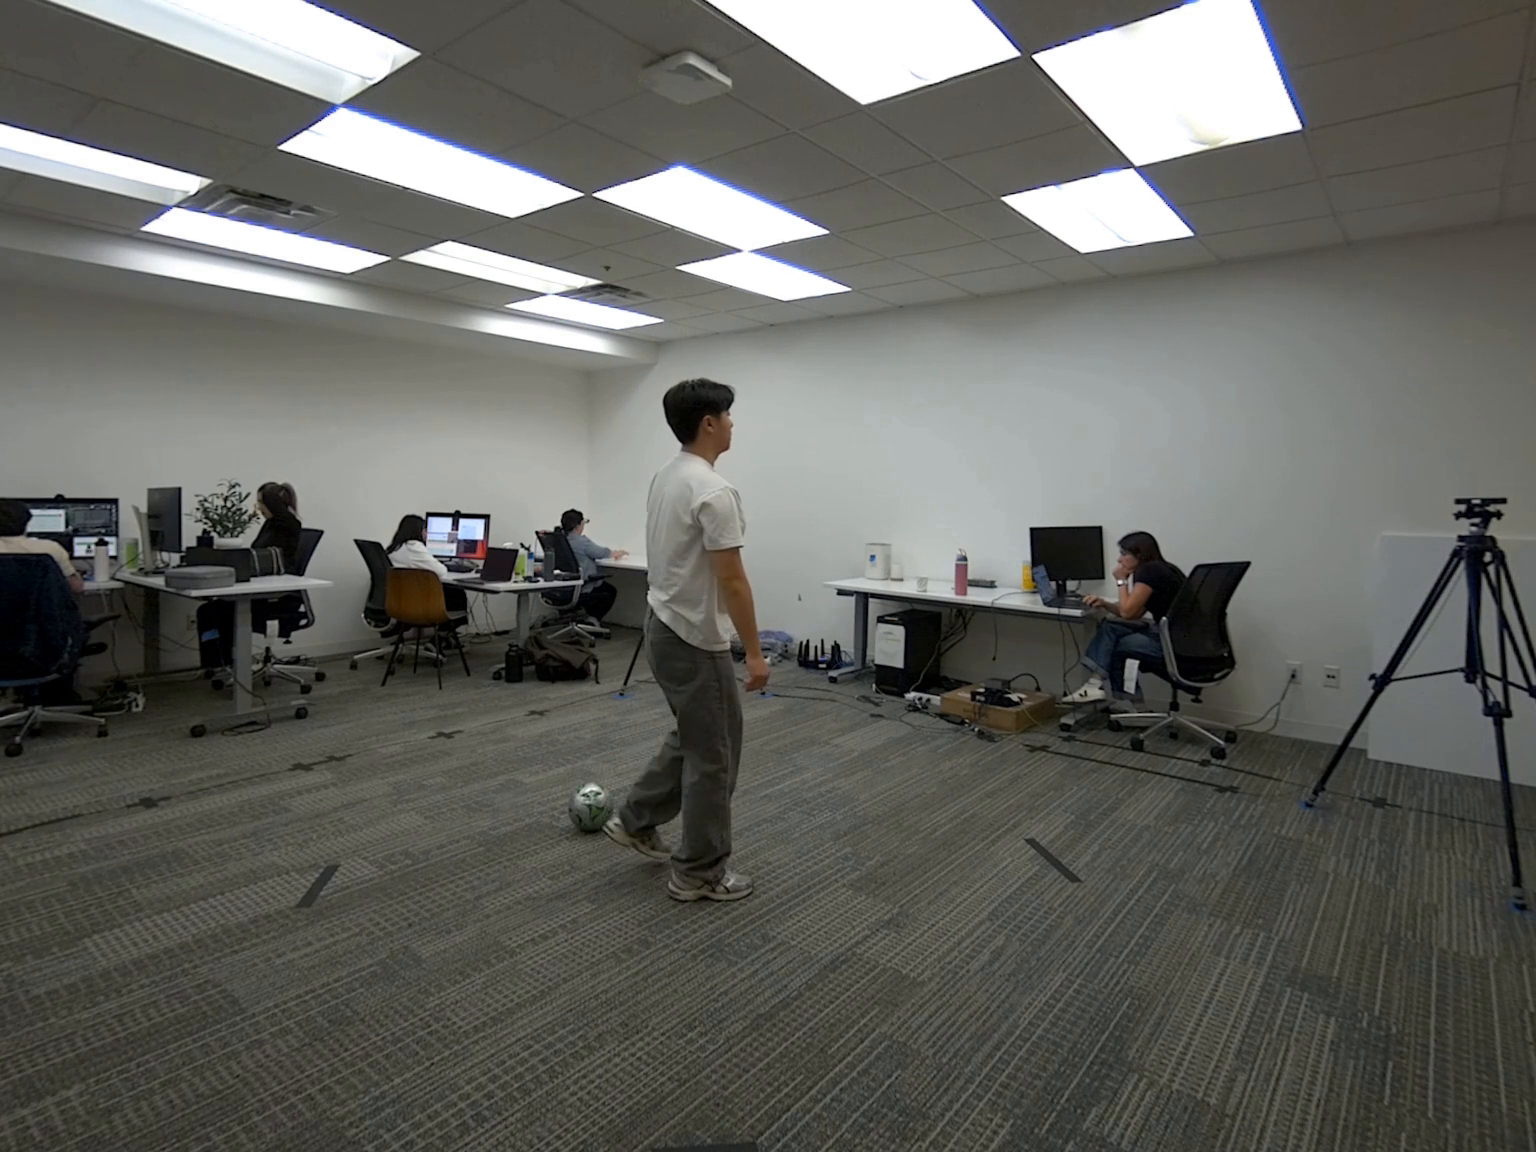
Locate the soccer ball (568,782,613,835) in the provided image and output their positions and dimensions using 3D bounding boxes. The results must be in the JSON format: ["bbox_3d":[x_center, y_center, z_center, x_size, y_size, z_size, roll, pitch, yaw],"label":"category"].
[{"bbox_3d":[-0.712,0.929,3.456,0.187,0.187,0.188,1,4,-2],"label":"soccer ball"}]
